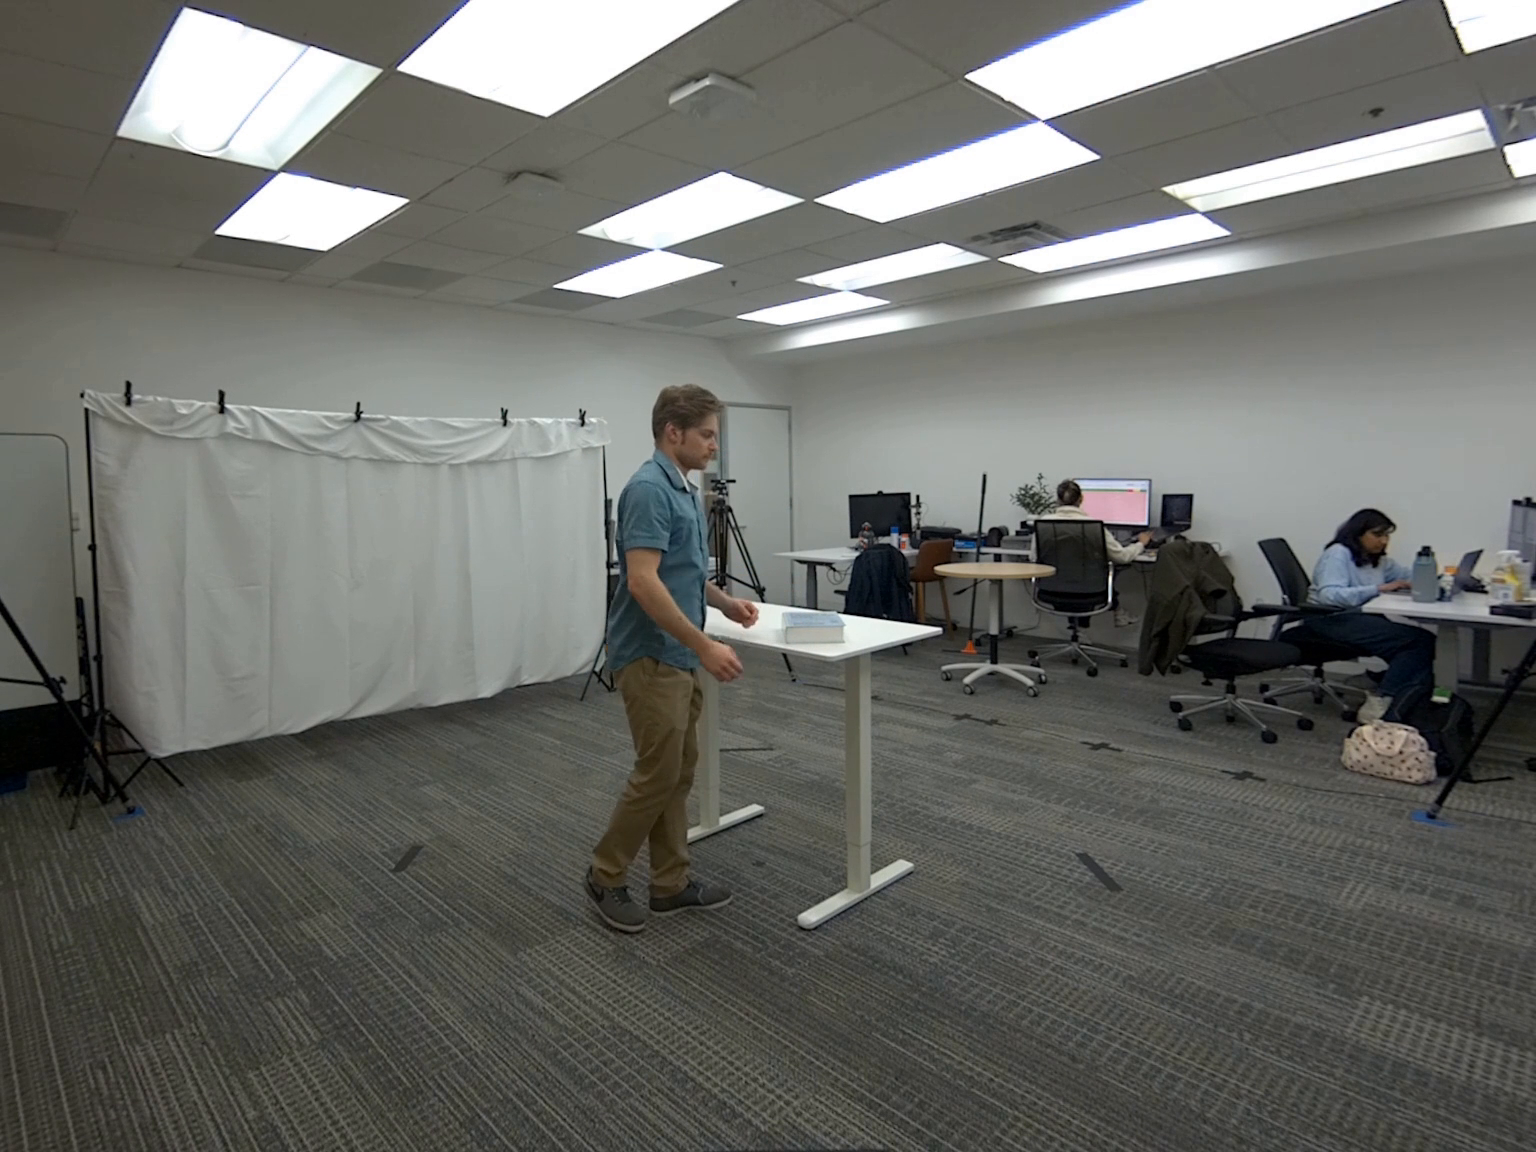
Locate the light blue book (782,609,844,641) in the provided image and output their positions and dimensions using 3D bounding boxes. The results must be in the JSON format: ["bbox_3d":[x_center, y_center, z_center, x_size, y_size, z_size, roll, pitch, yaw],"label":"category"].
[{"bbox_3d":[0.144,0.168,2.811,0.191,0.059,0.262,-1,7,-1],"label":"light blue book"}]
